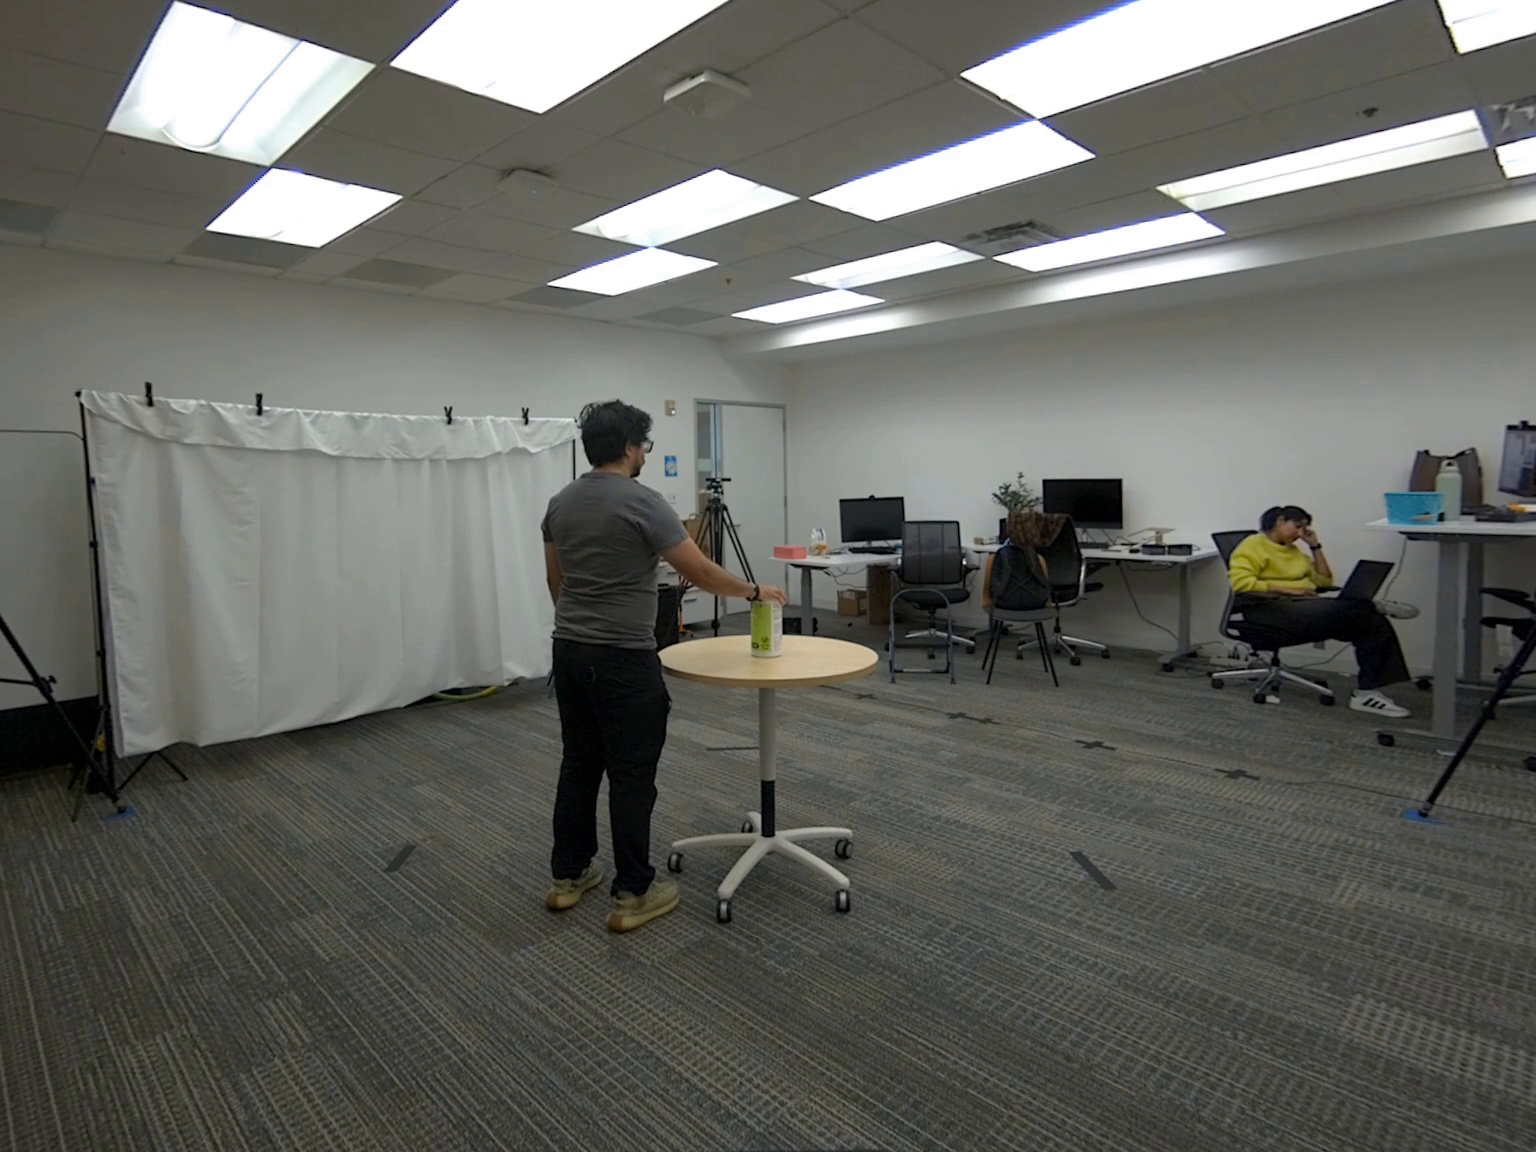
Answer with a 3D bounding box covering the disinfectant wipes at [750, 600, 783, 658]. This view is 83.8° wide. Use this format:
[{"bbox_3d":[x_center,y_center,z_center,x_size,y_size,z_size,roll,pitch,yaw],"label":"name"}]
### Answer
[{"bbox_3d":[-0.005,0.169,2.963,0.118,0.216,0.118,1,5,-2],"label":"disinfectant wipes"}]
